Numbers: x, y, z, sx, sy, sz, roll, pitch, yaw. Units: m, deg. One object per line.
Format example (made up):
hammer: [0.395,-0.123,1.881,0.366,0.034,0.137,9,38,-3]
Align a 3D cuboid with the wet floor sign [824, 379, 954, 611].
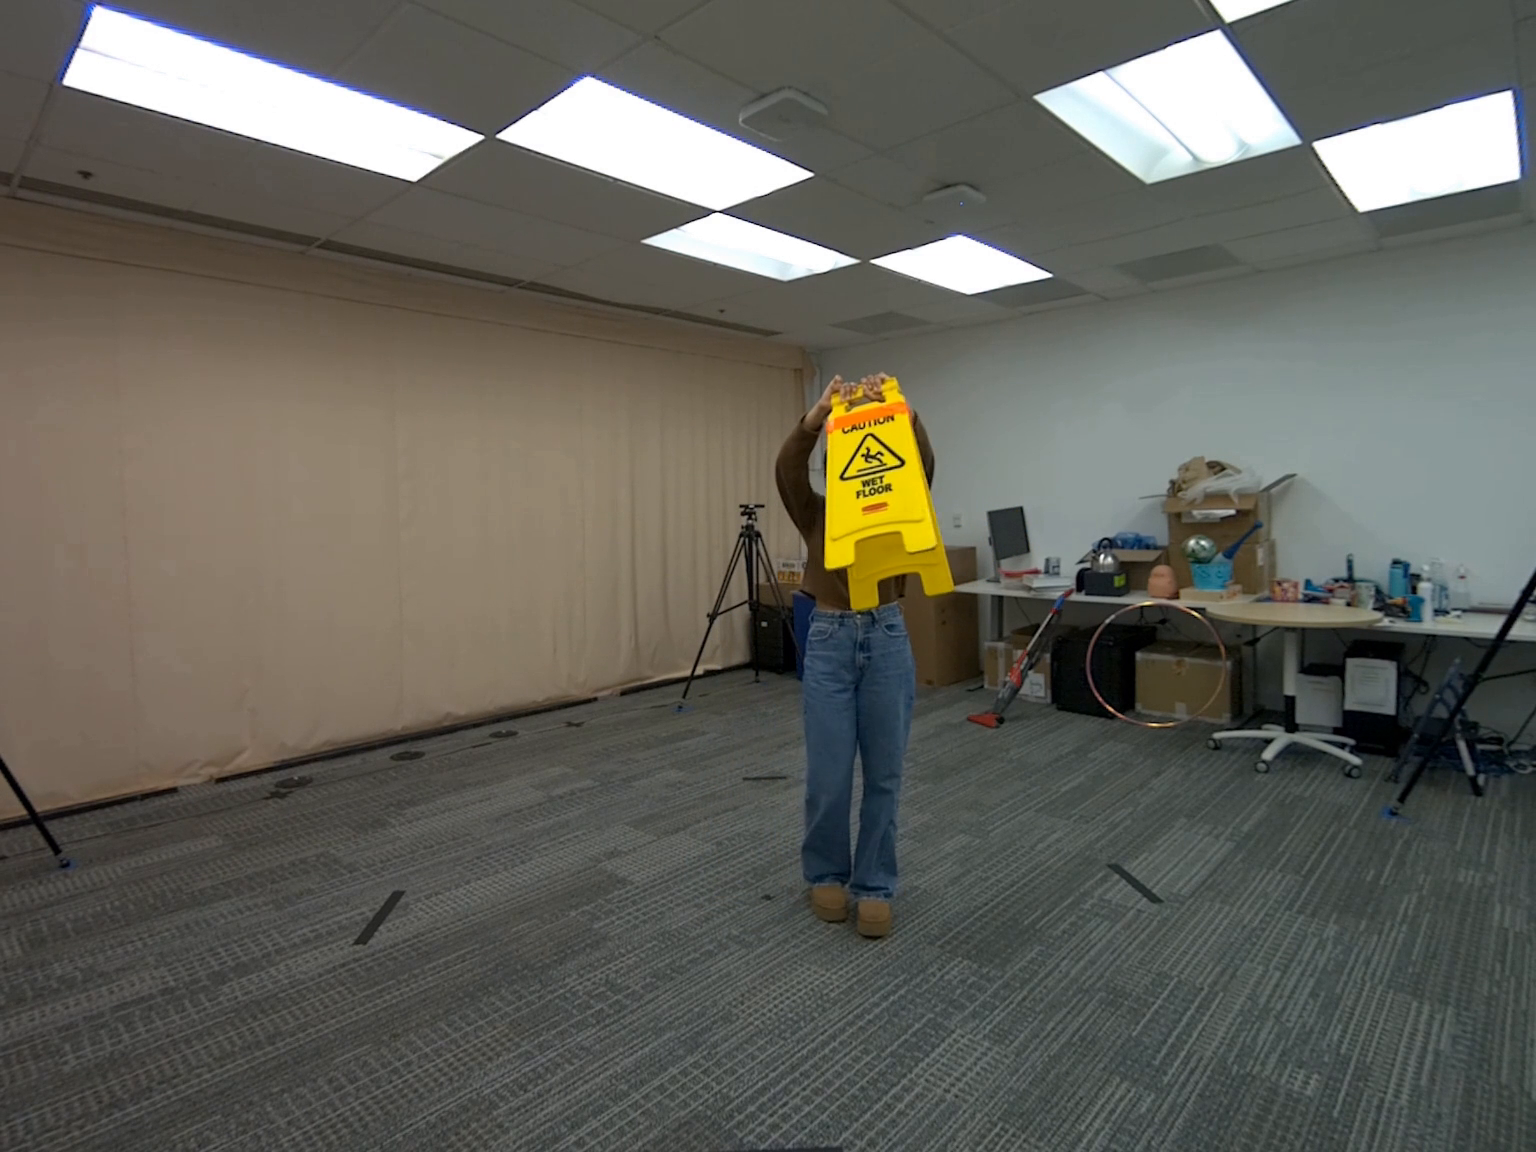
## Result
wet floor sign: [0.302,-0.268,2.320,0.286,0.657,0.280,-14,-30,16]
